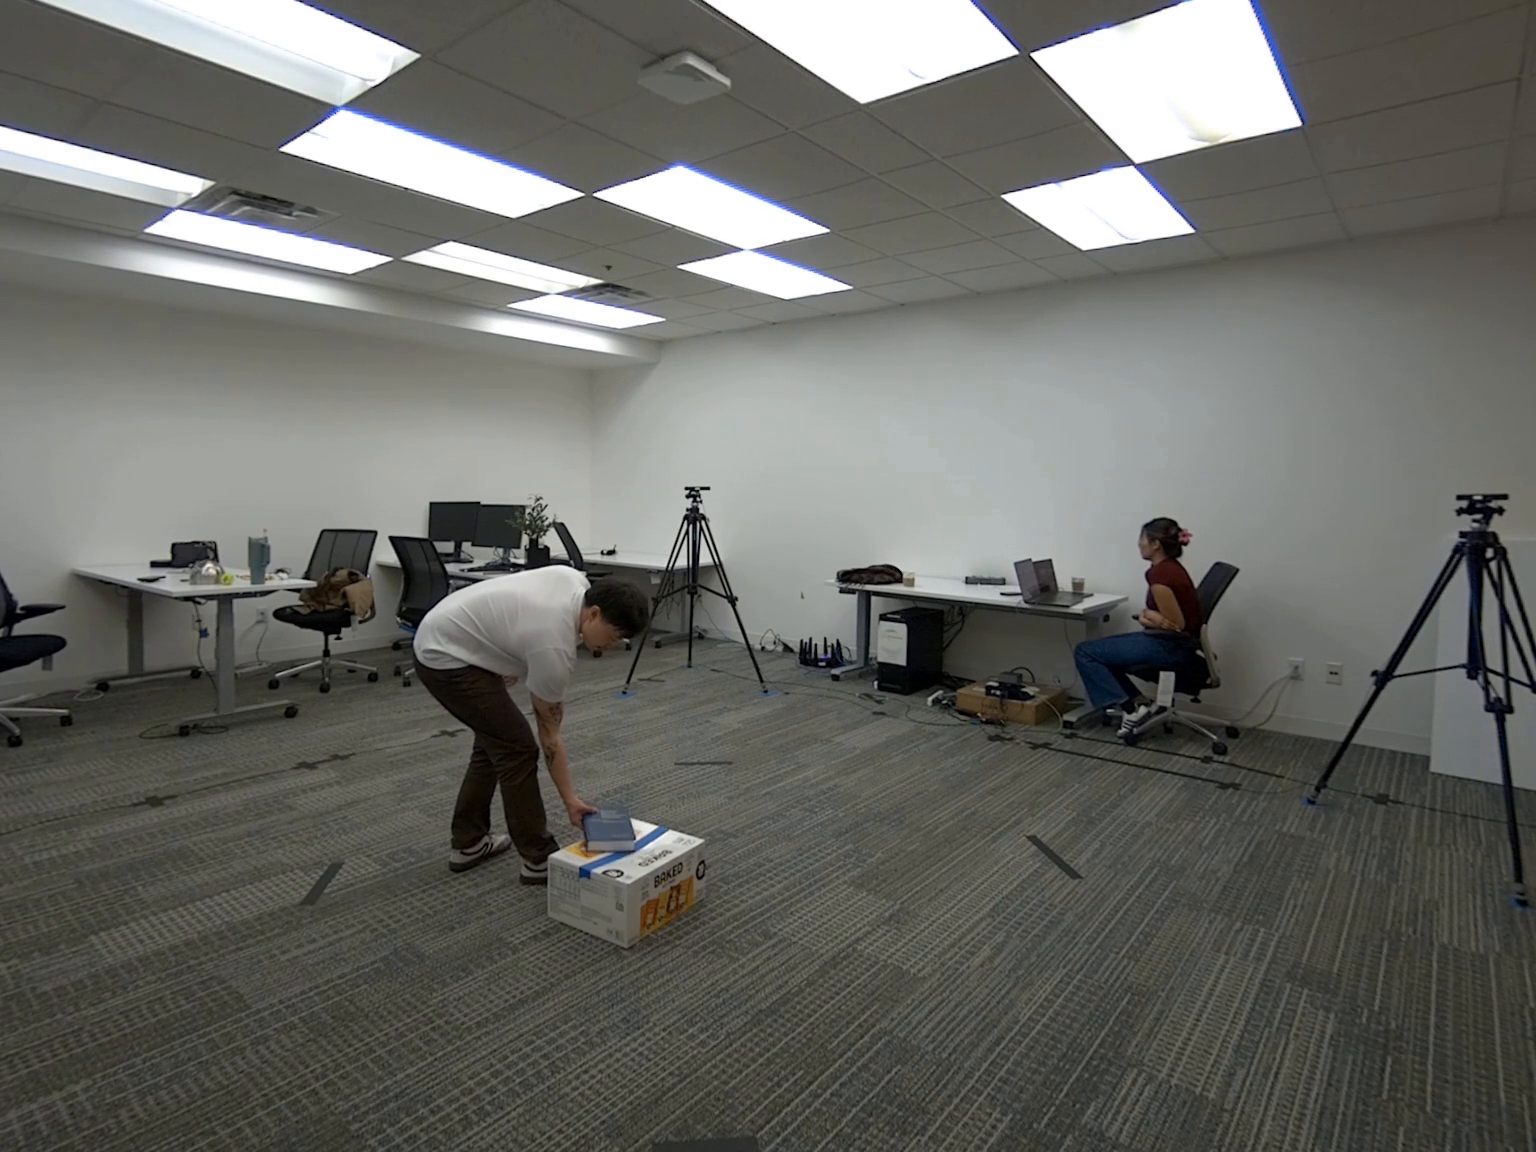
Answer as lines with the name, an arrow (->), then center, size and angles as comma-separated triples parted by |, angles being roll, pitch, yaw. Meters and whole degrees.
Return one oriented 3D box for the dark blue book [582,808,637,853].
dark blue book -> -0.553, 0.854, 2.897 | 0.161, 0.045, 0.251 | 3, 9, -16
